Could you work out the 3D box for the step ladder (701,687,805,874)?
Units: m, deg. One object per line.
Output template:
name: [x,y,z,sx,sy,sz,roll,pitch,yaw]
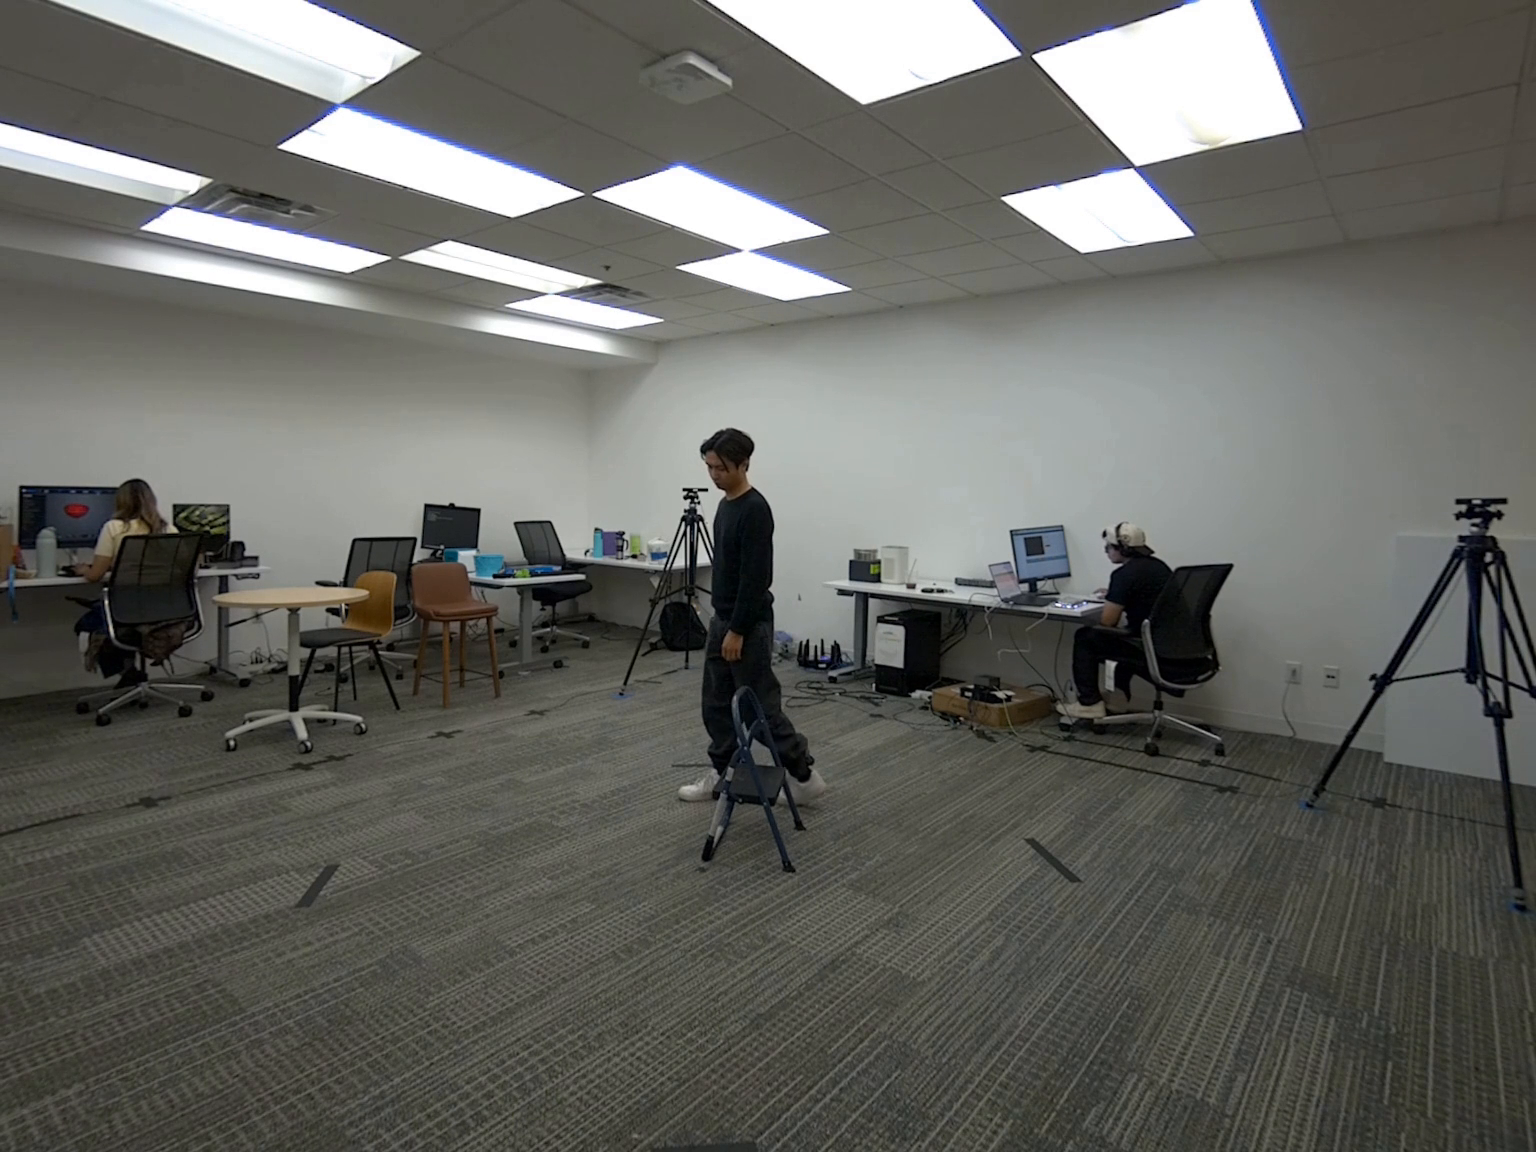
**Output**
step ladder: [-0.048,0.748,3.324,0.353,0.604,0.427,2,3,9]
